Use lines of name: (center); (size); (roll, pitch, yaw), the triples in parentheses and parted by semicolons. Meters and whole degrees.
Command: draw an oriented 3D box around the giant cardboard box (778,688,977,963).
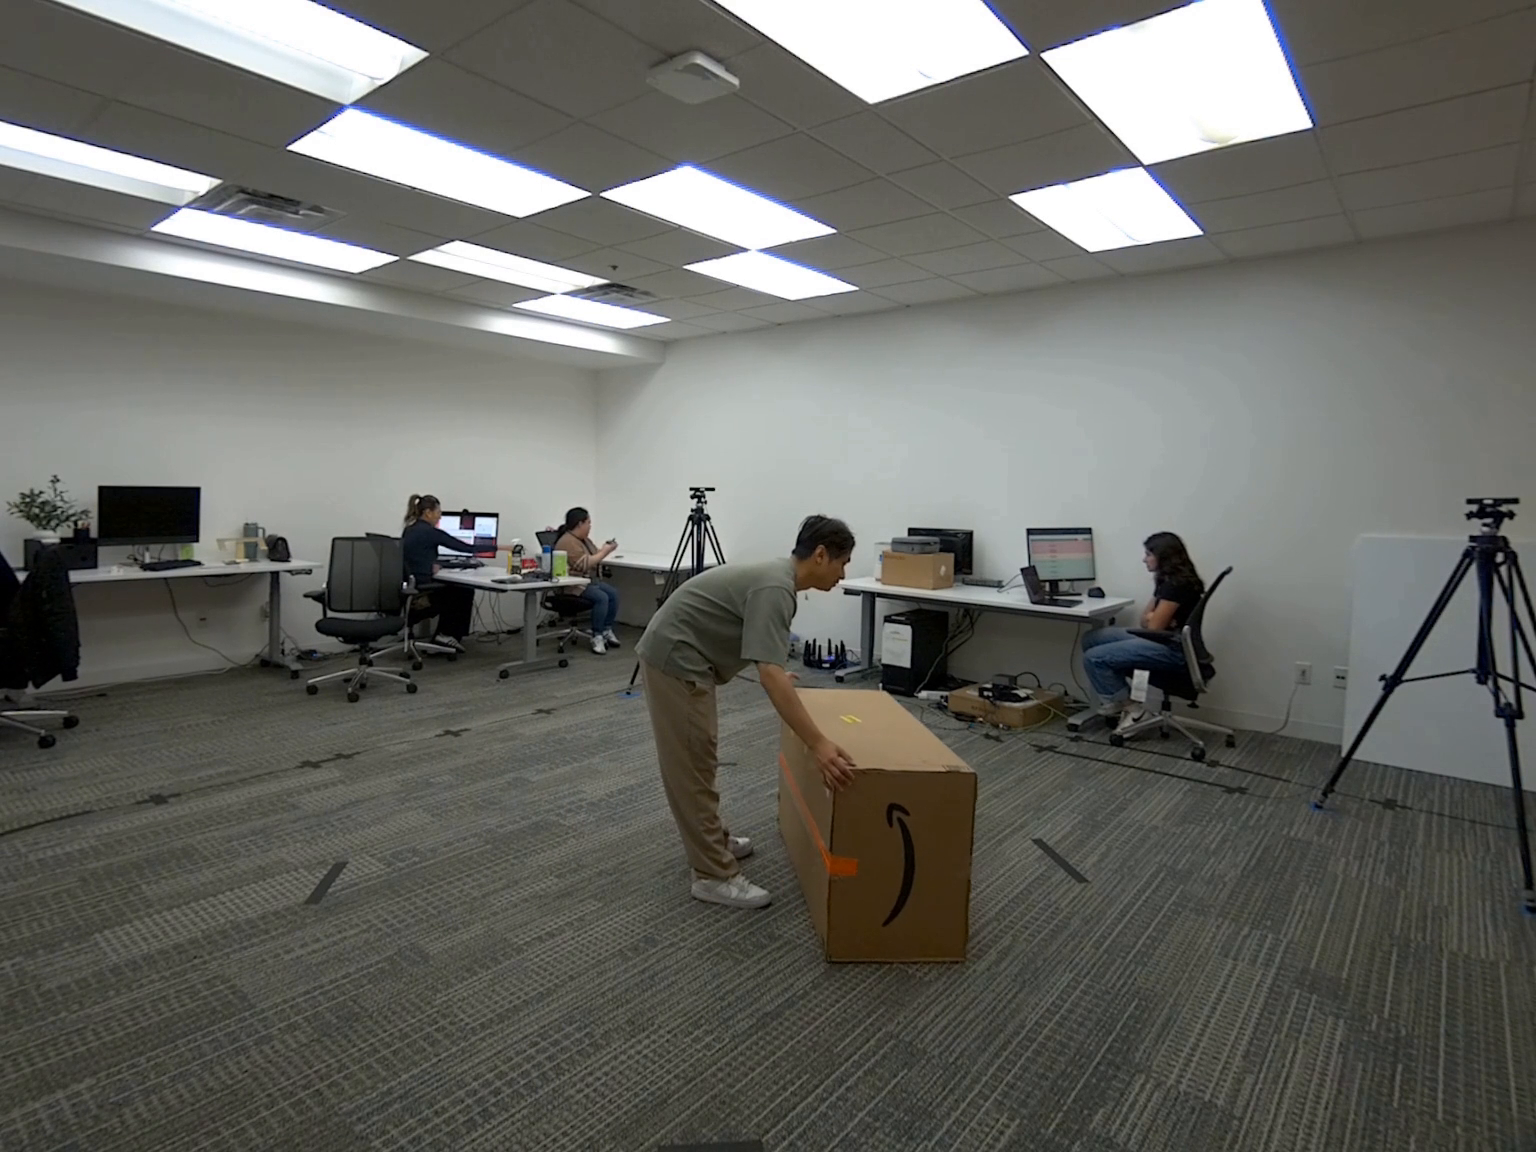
giant cardboard box: (0.321, 0.794, 2.999); (0.423, 0.575, 1.036); (2, 5, -7)
